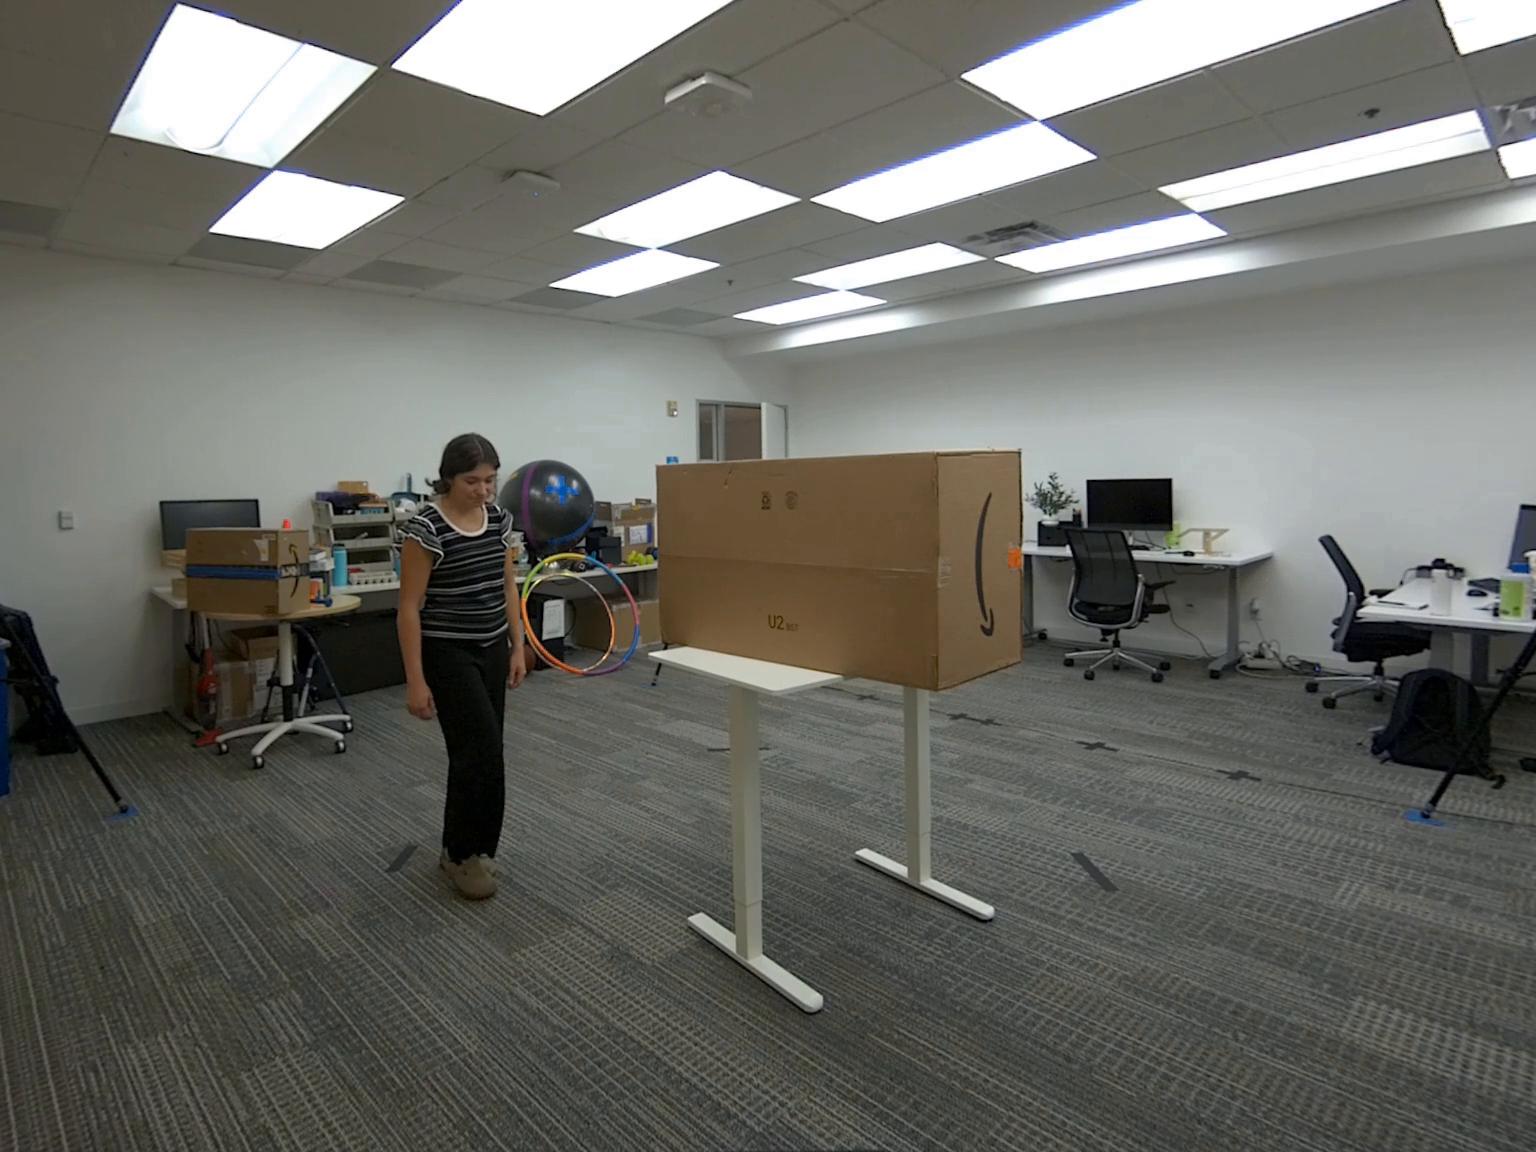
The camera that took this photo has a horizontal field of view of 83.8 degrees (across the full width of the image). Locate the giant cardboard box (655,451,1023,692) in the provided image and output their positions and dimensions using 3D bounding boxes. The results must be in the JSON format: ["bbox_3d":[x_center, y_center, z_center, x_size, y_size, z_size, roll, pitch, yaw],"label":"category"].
[{"bbox_3d":[0.174,-0.061,2.514,1.057,0.575,0.415,4,7,45],"label":"giant cardboard box"}]
